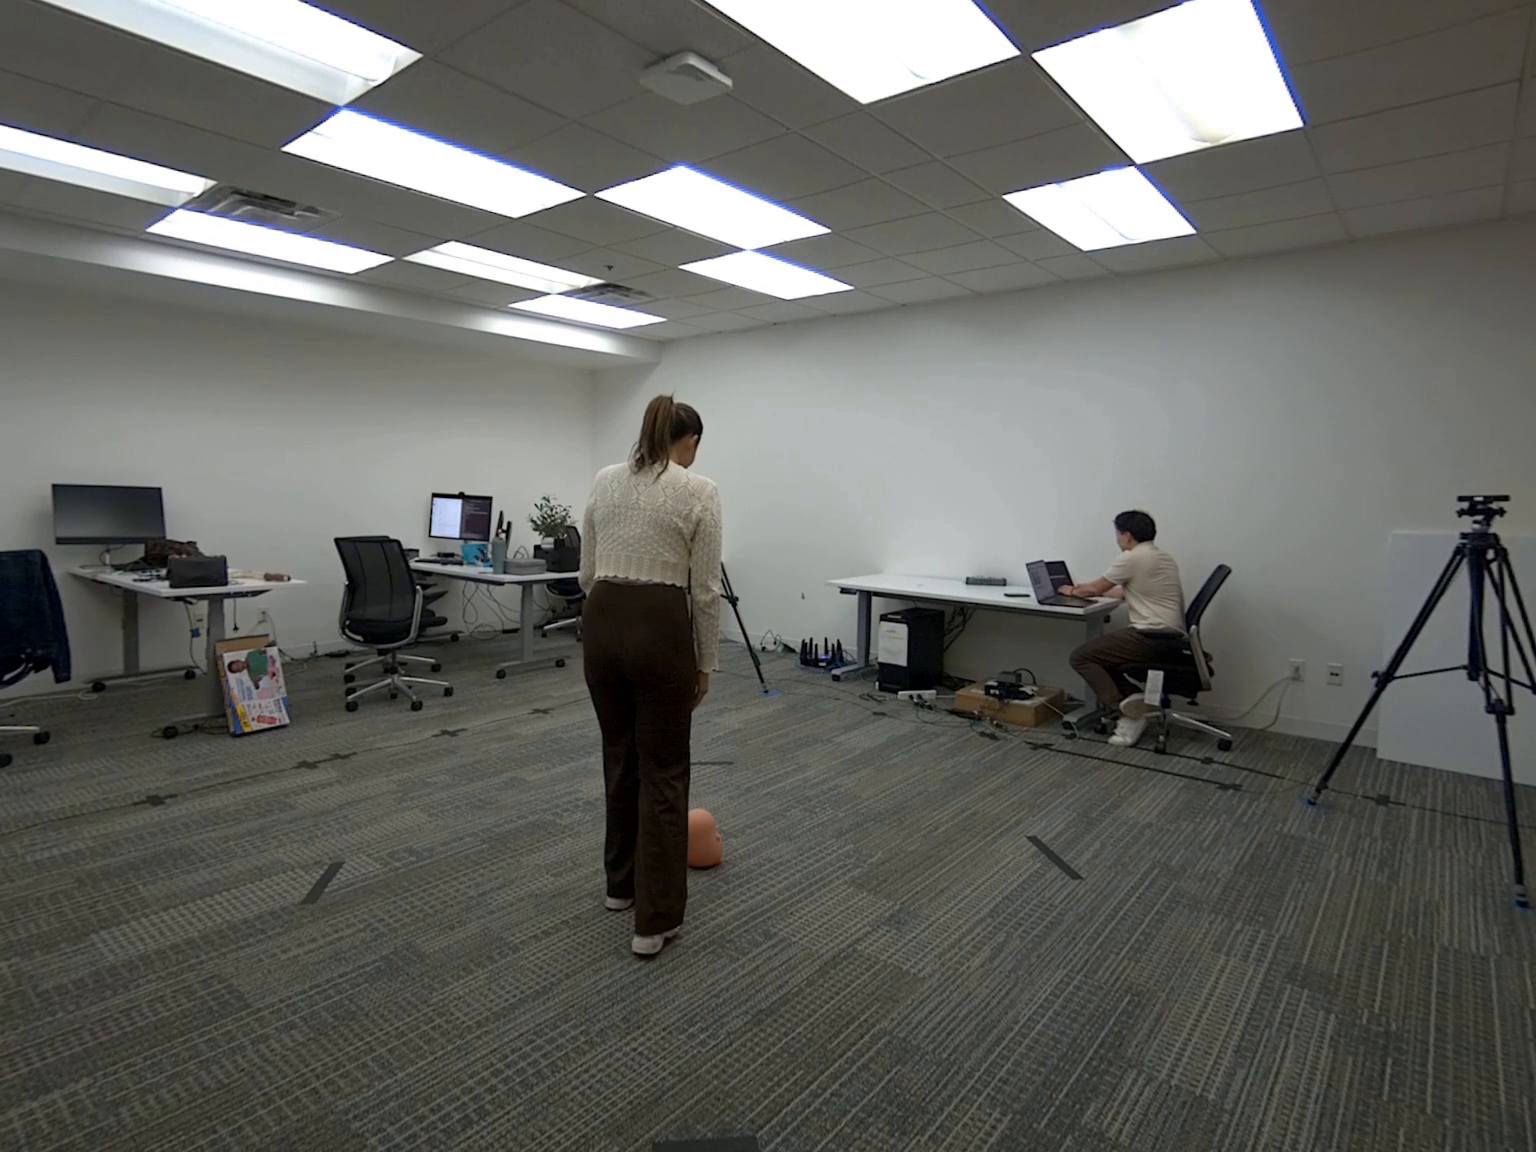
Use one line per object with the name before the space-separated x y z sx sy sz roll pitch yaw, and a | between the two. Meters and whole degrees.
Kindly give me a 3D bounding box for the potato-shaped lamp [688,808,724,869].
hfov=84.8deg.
potato-shaped lamp | -0.265 0.960 3.154 0.167 0.198 0.169 0 3 -26
